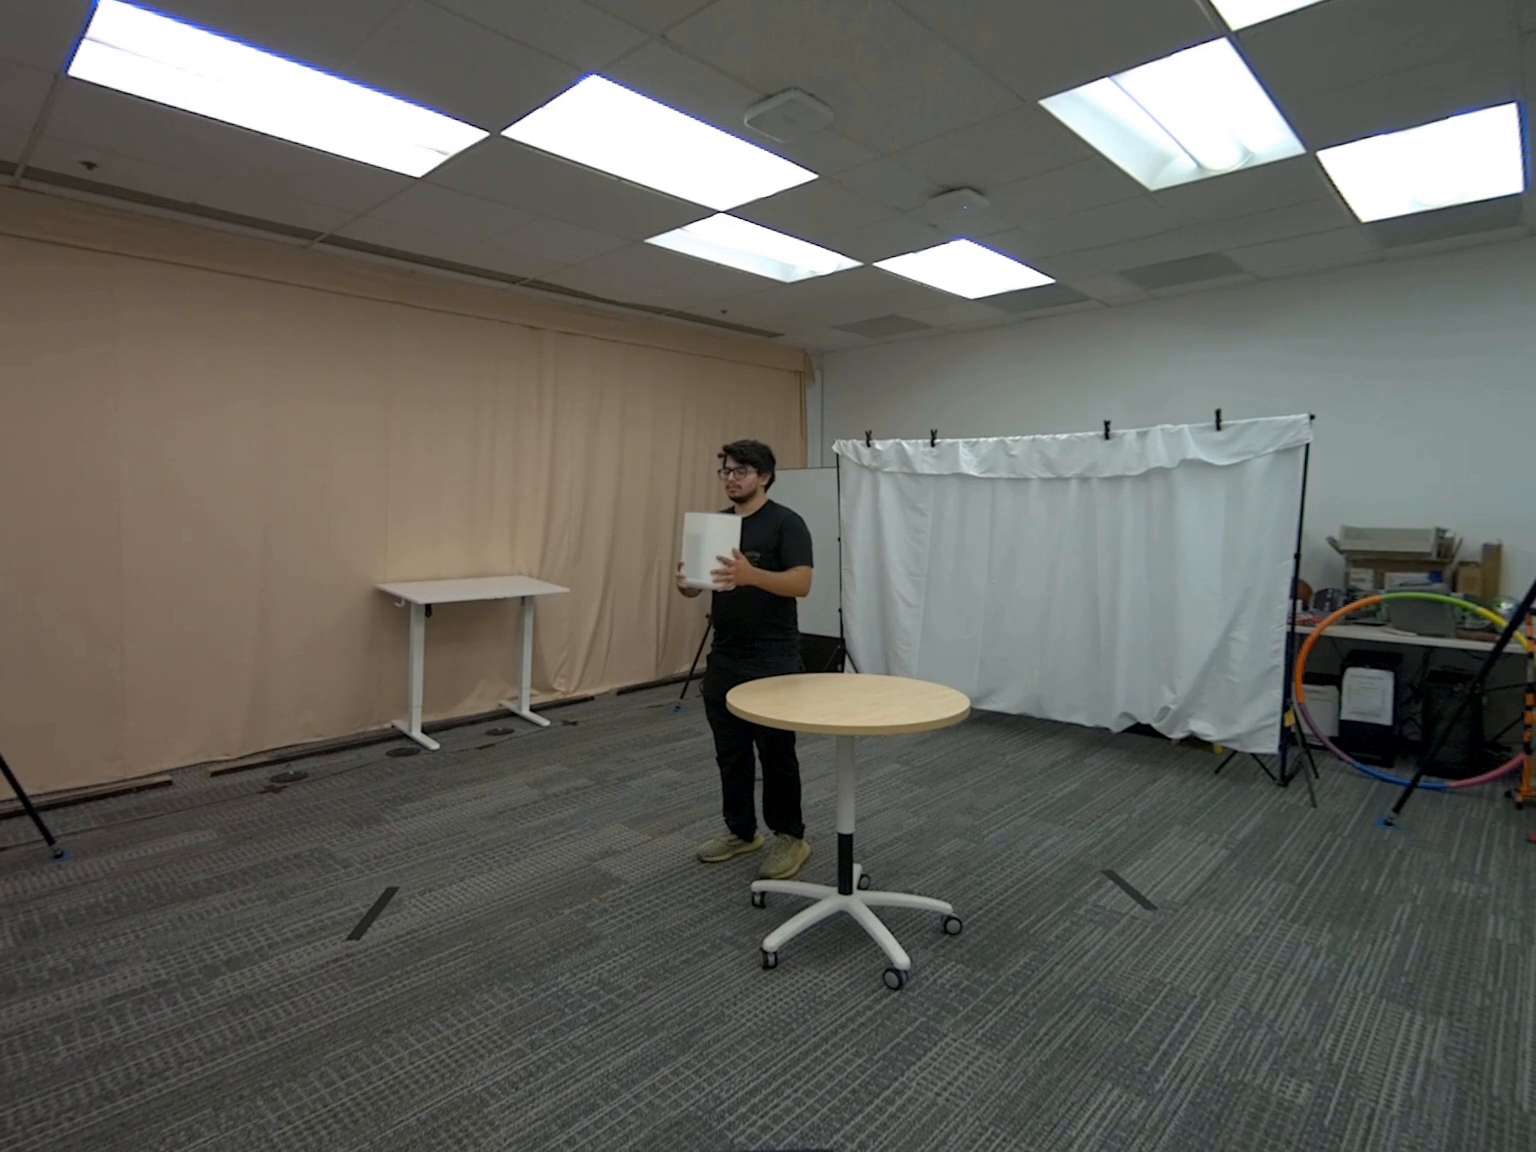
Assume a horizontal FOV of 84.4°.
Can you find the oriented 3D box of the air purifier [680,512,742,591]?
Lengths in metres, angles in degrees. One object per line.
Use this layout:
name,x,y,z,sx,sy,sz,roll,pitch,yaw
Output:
air purifier,-0.197,-0.086,2.951,0.177,0.265,0.165,6,3,43
